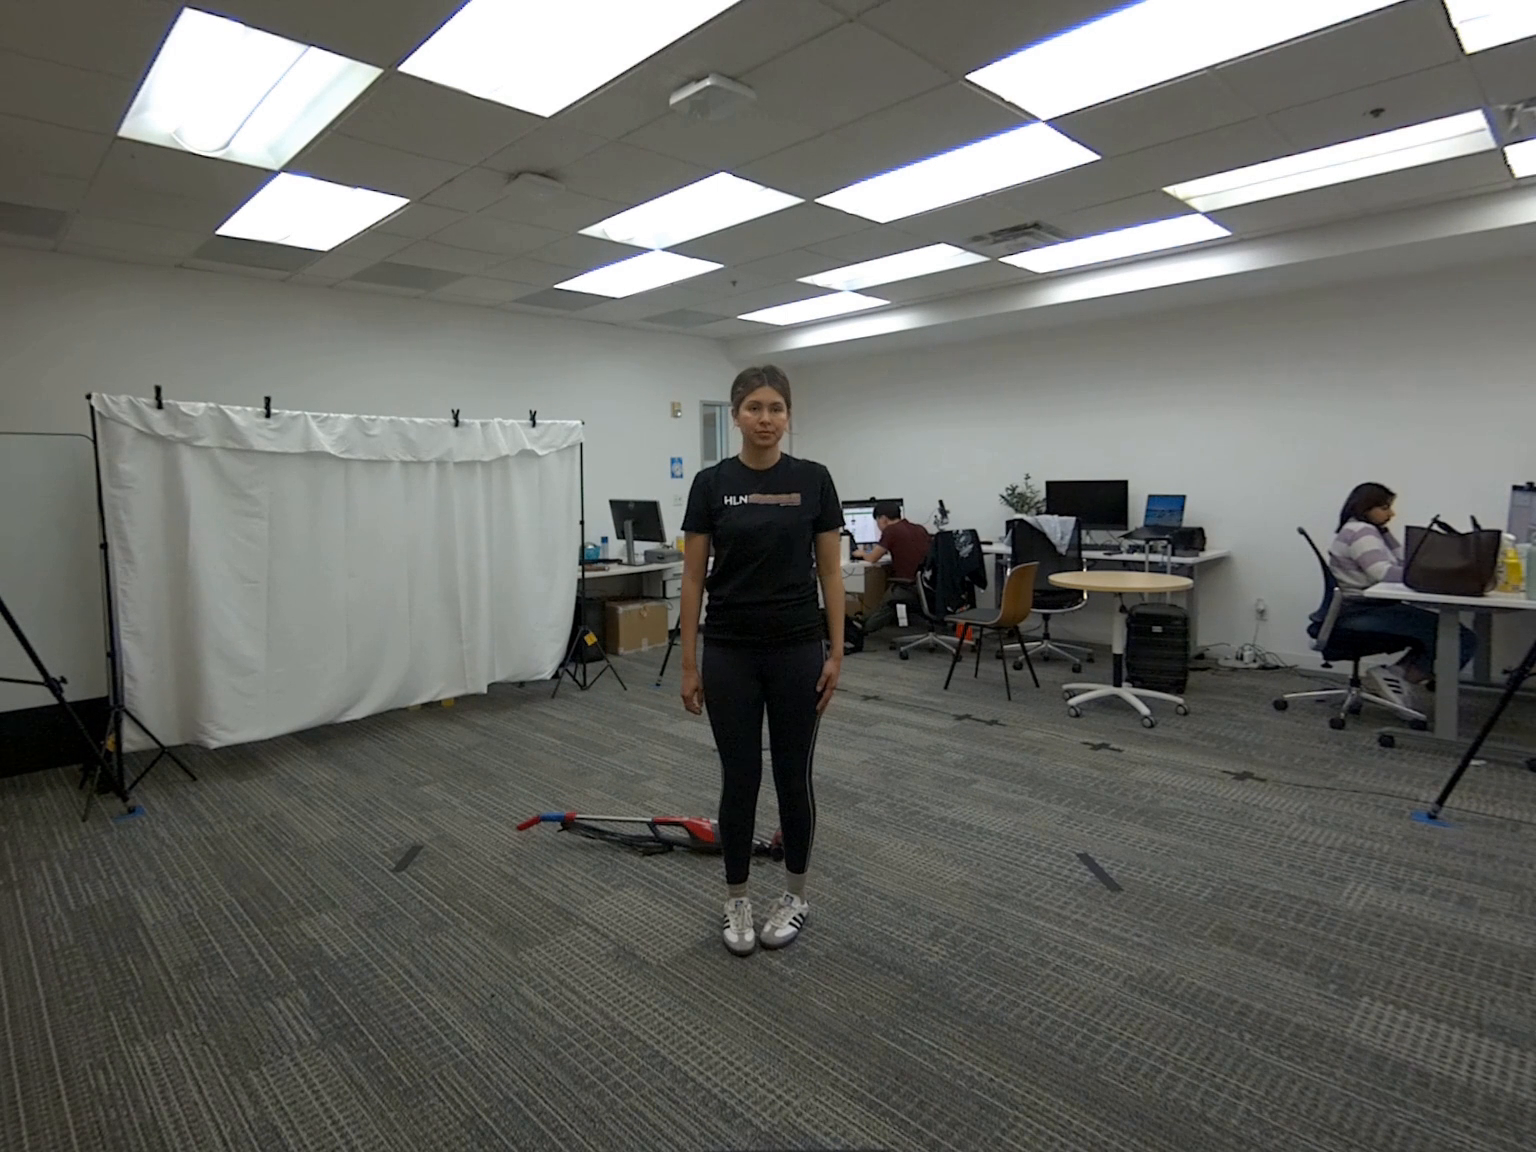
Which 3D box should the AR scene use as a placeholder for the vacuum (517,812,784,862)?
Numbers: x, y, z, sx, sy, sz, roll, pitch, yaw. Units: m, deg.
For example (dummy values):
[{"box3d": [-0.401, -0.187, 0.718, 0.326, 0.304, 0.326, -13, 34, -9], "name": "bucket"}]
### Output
[{"box3d": [-0.446, 0.980, 3.240, 1.055, 0.144, 0.251, -1, 2, 6], "name": "vacuum"}]
